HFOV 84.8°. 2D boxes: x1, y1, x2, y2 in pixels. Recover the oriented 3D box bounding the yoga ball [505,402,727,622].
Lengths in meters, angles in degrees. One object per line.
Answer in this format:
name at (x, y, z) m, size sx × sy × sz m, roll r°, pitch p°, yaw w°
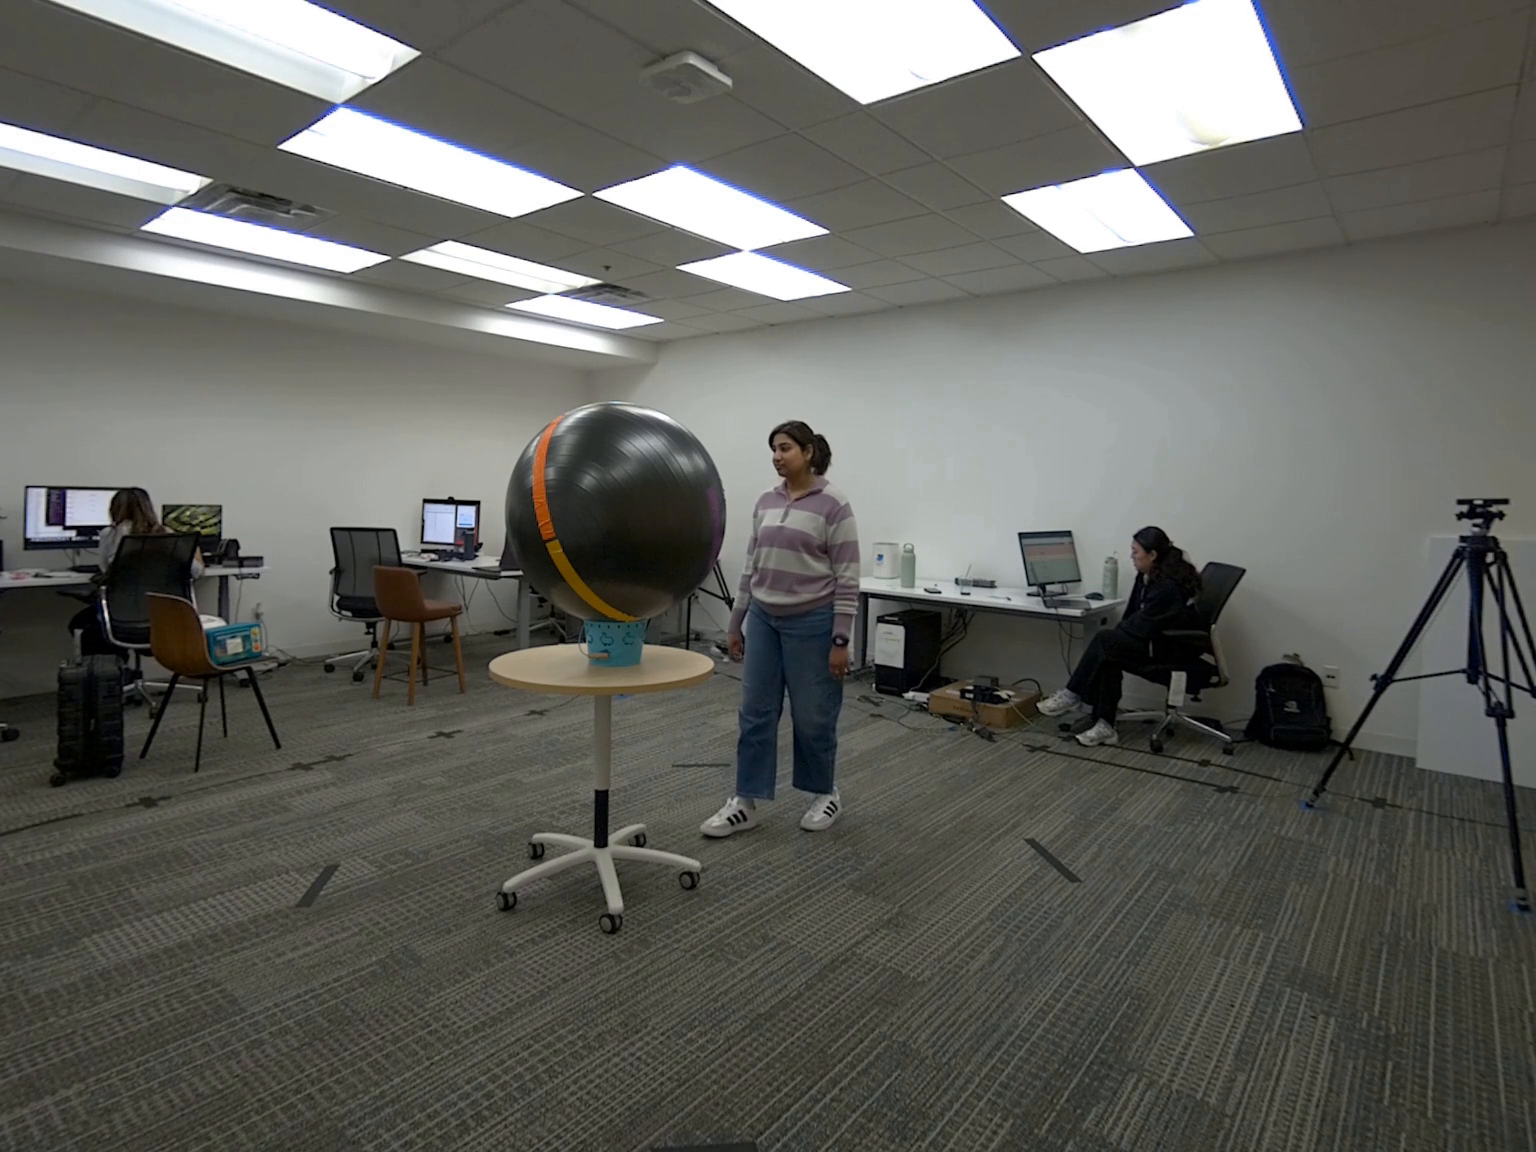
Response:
yoga ball at (-0.532, -0.213, 2.933) m, size 0.757 × 0.755 × 0.762 m, roll 1°, pitch 4°, yaw -2°
